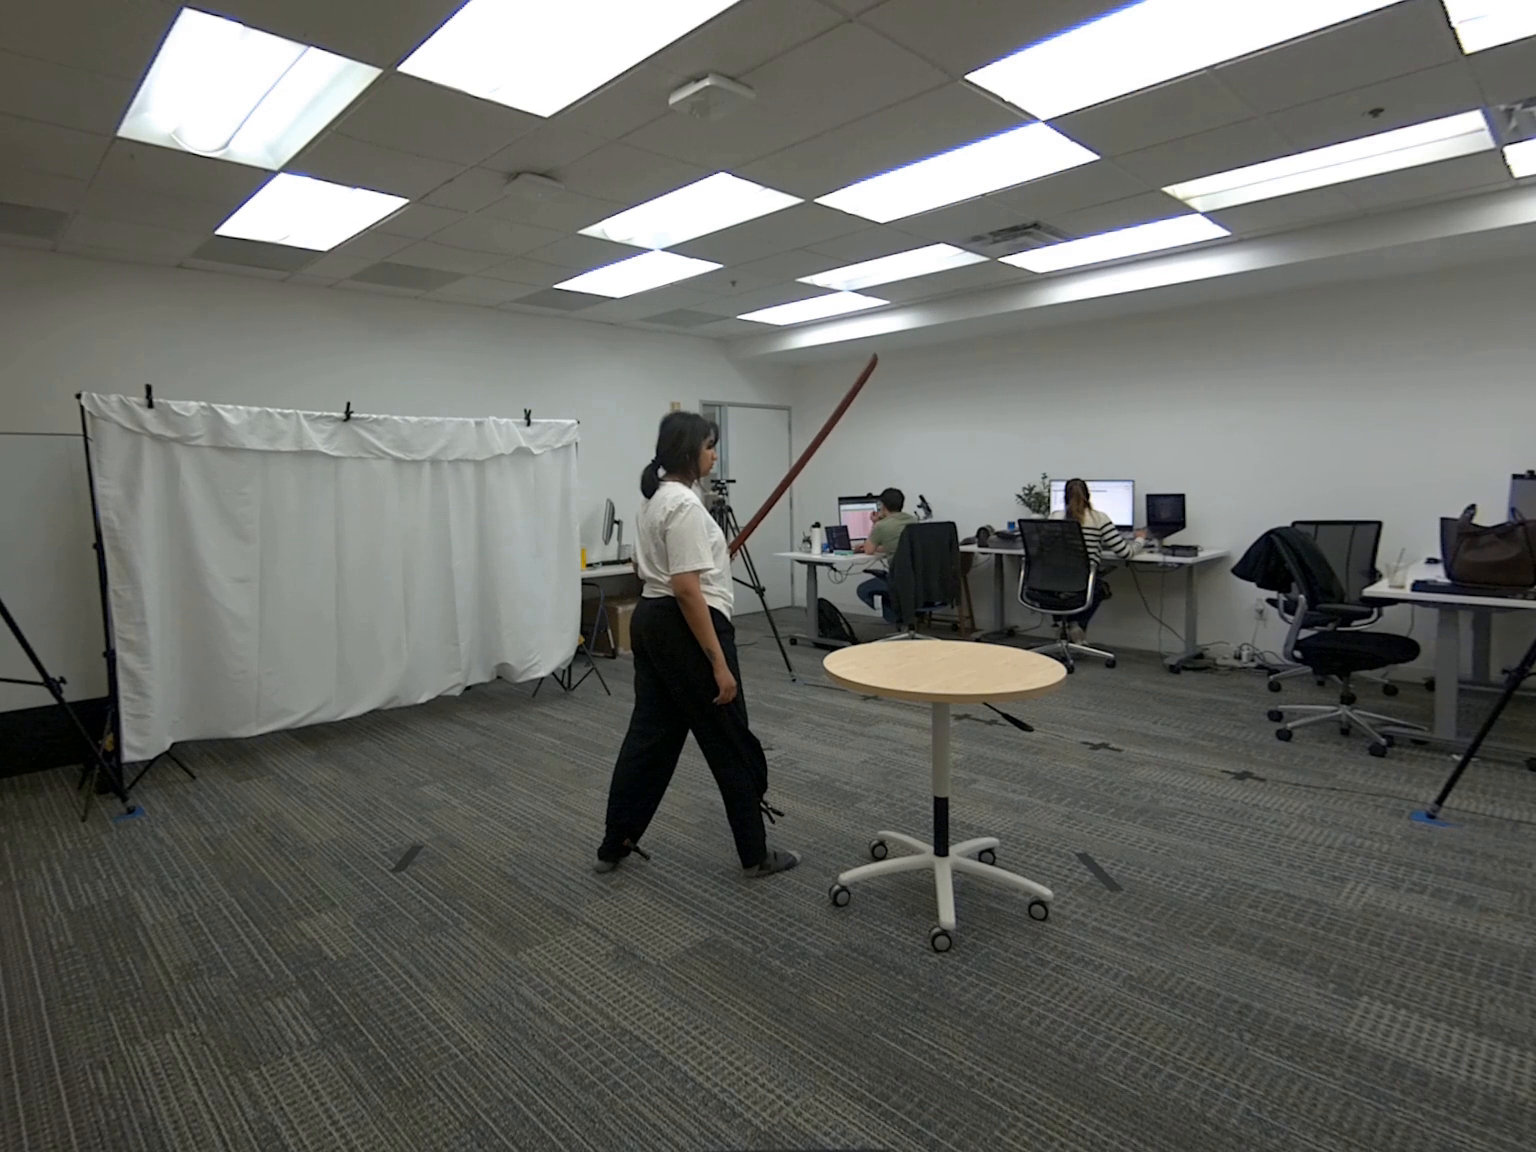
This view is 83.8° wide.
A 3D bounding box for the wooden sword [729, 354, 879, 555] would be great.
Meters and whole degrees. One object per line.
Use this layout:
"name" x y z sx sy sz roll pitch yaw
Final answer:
"wooden sword" 0.096 -0.372 3.087 0.023 1.021 0.053 21 30 -32
